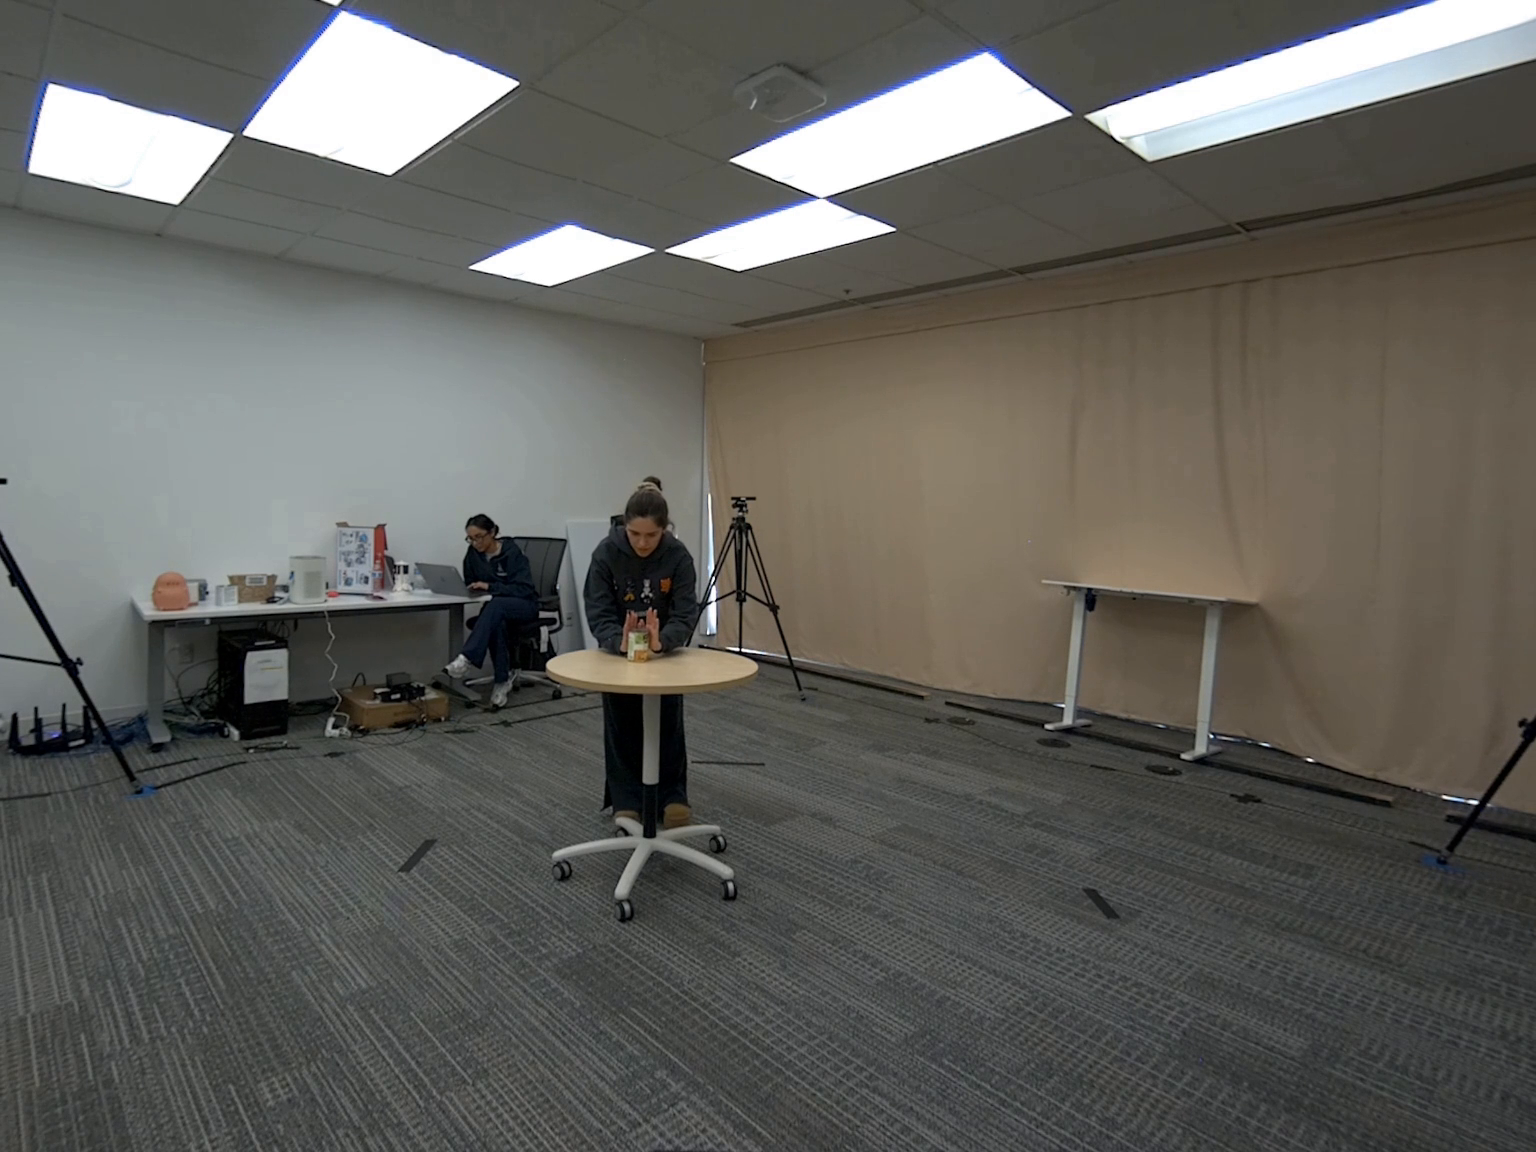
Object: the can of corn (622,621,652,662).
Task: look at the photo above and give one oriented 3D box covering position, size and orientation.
[{"bbox_3d":[-0.491,0.258,3.112,0.074,0.111,0.074,3,4,-2],"label":"can of corn"}]
